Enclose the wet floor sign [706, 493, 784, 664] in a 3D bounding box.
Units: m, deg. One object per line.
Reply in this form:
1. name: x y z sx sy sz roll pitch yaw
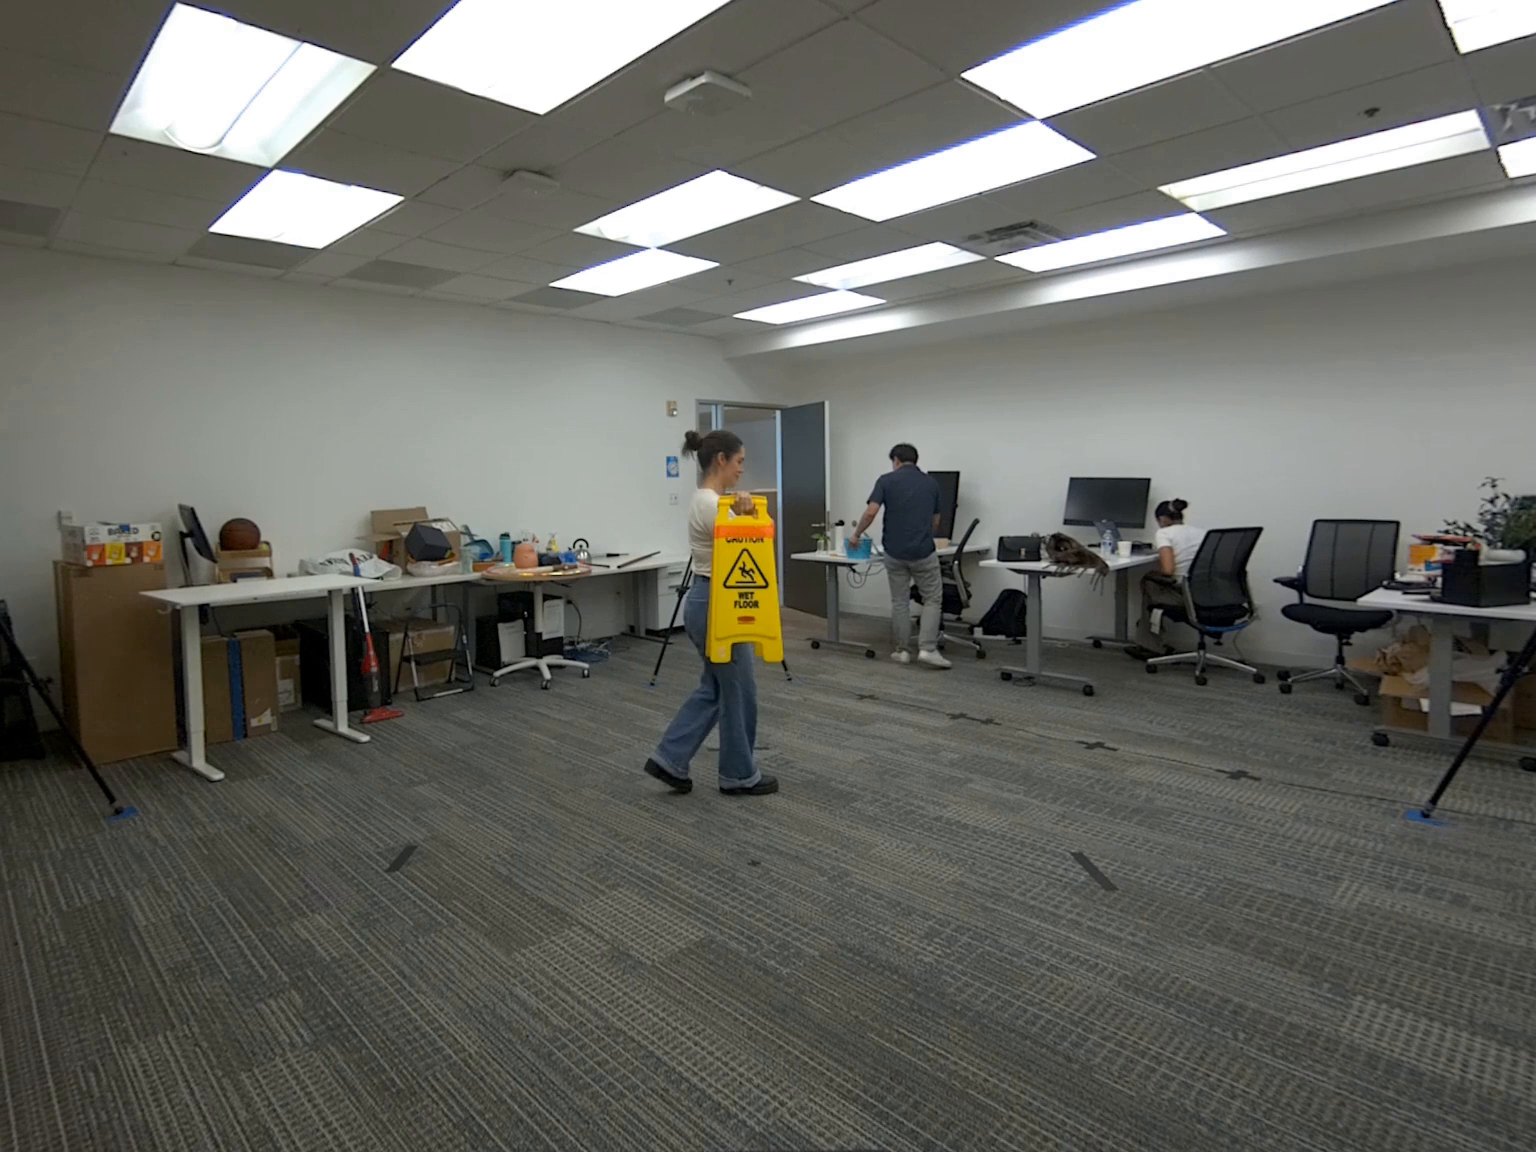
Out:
1. wet floor sign: -0.094 0.001 3.404 0.280 0.648 0.291 0 -3 -7
